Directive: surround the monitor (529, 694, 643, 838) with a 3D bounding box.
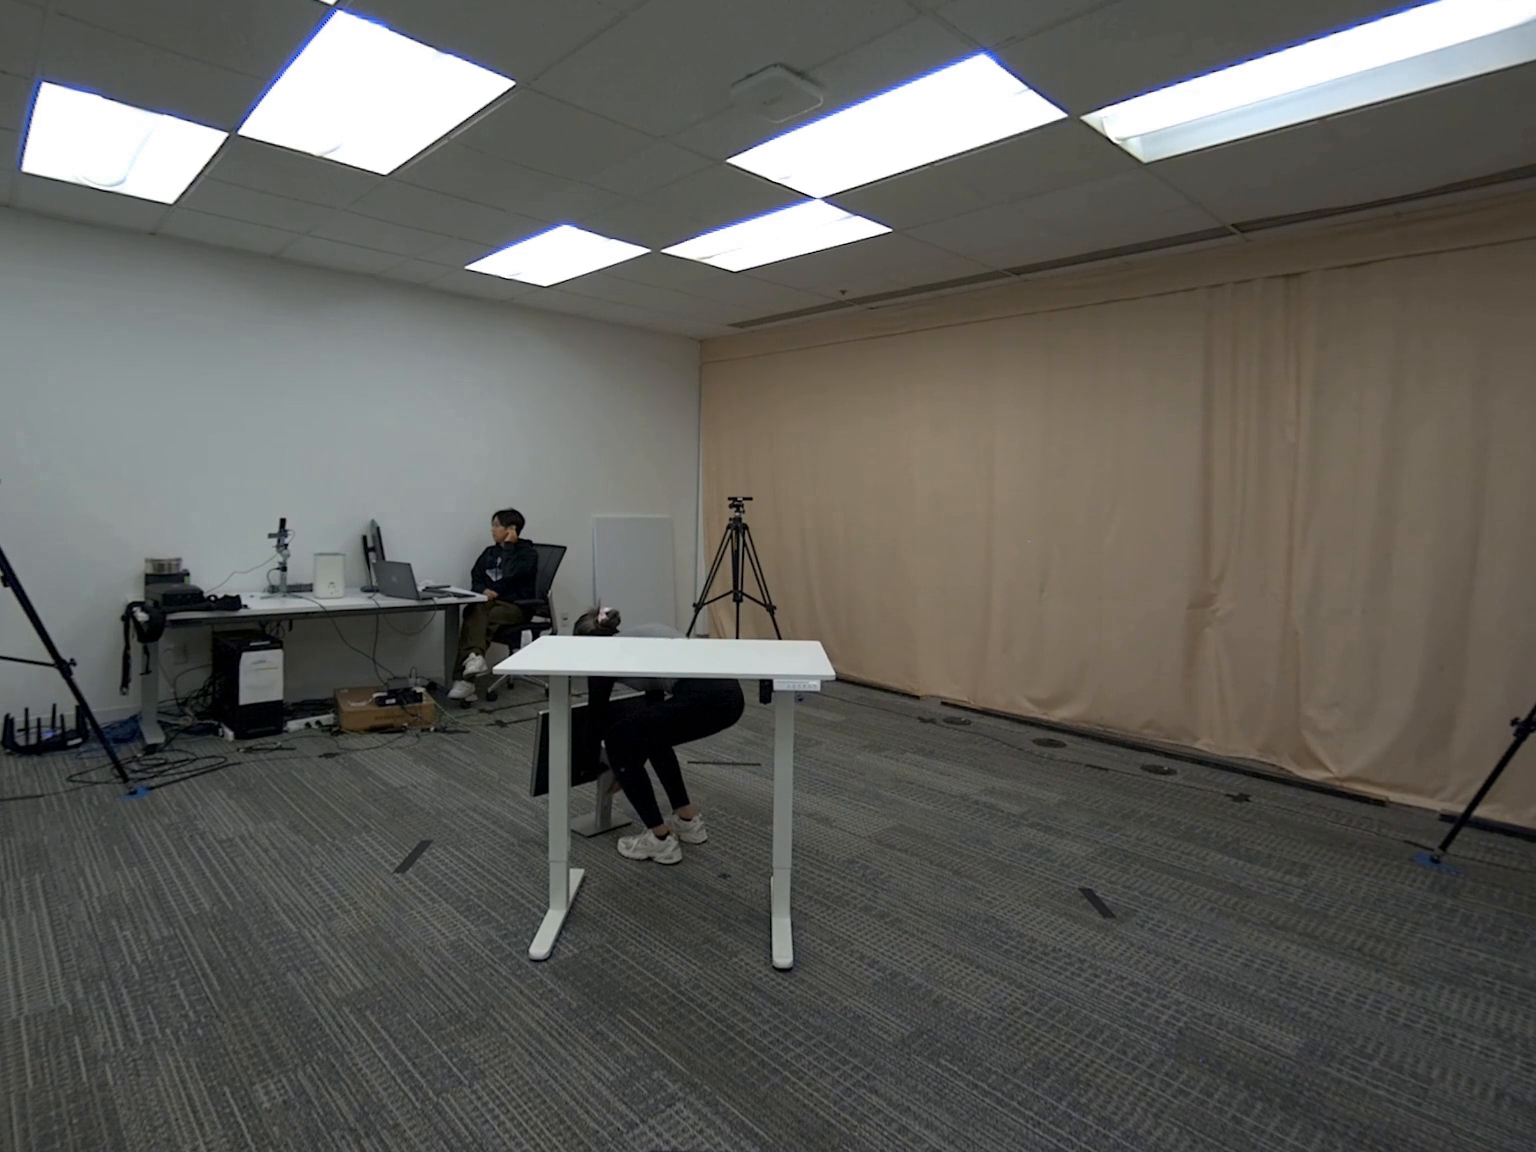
[{"bbox_3d":[-0.724,0.795,3.551,0.192,0.522,0.527,2,4,43],"label":"monitor"}]
